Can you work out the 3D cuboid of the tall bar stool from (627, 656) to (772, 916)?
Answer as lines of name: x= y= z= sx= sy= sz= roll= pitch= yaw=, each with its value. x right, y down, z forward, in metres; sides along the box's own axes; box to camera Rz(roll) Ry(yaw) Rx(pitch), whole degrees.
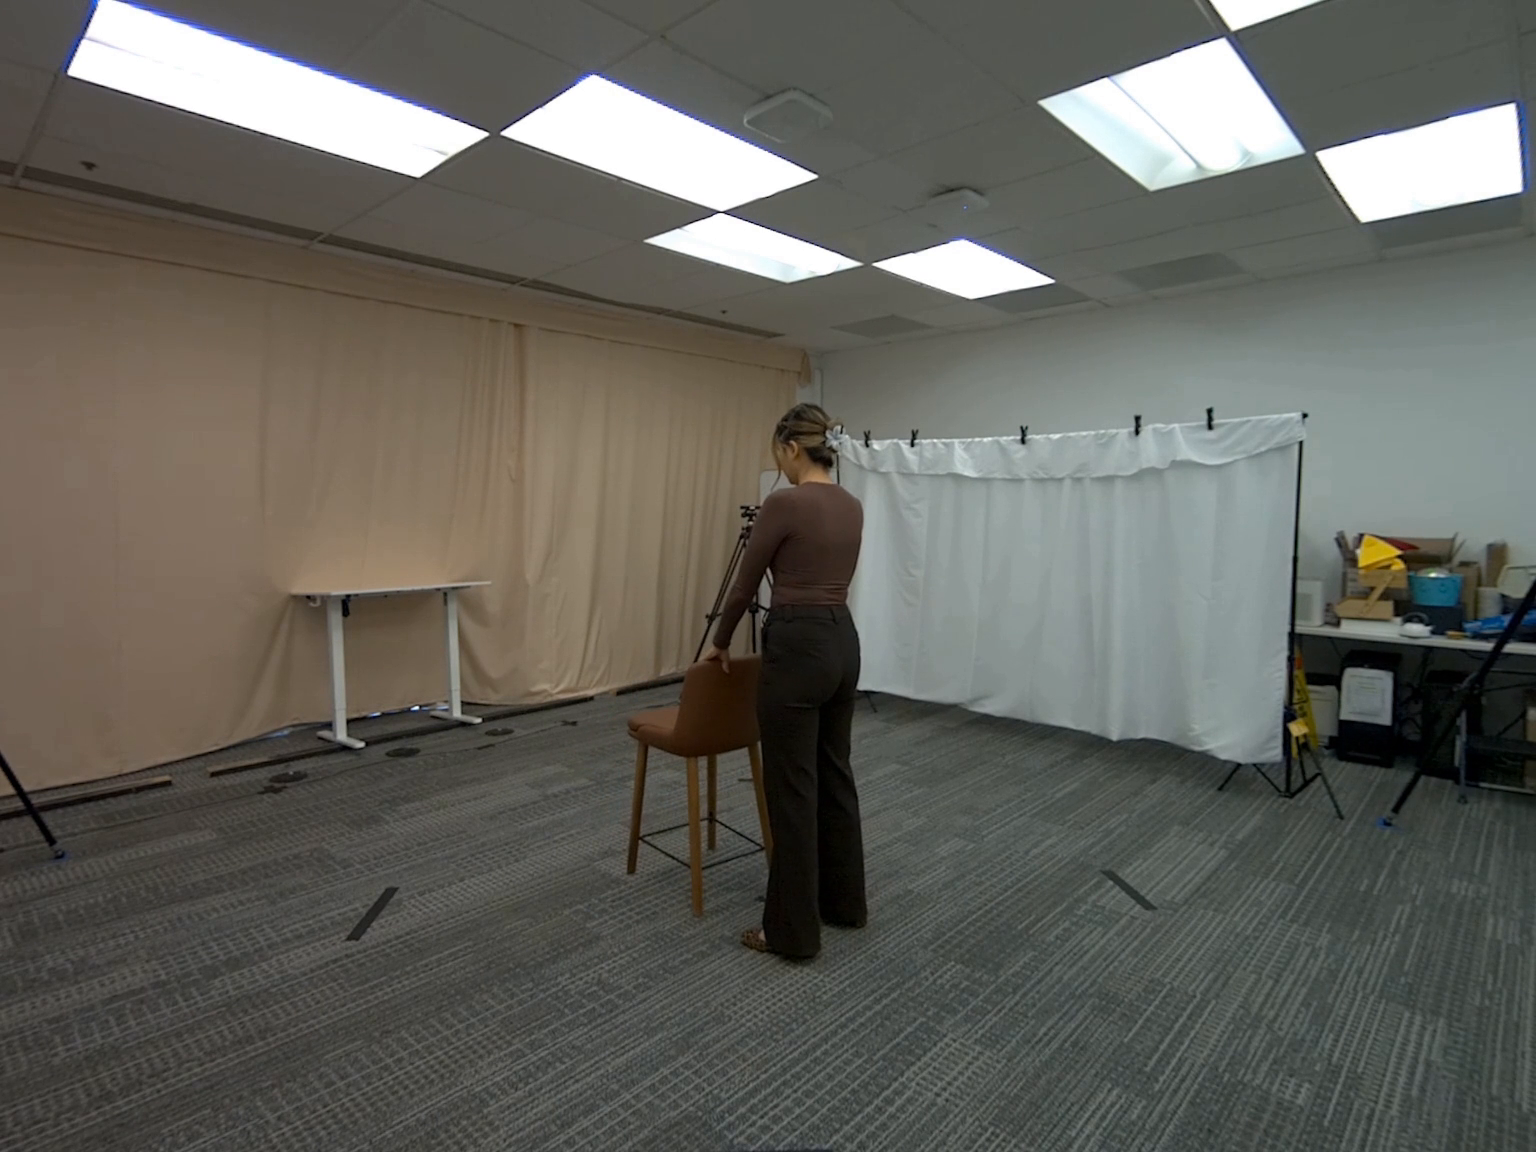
tall bar stool: x=-0.235 y=0.697 z=3.107 sx=0.443 sy=0.887 sz=0.483 roll=-3 pitch=6 yaw=-37
